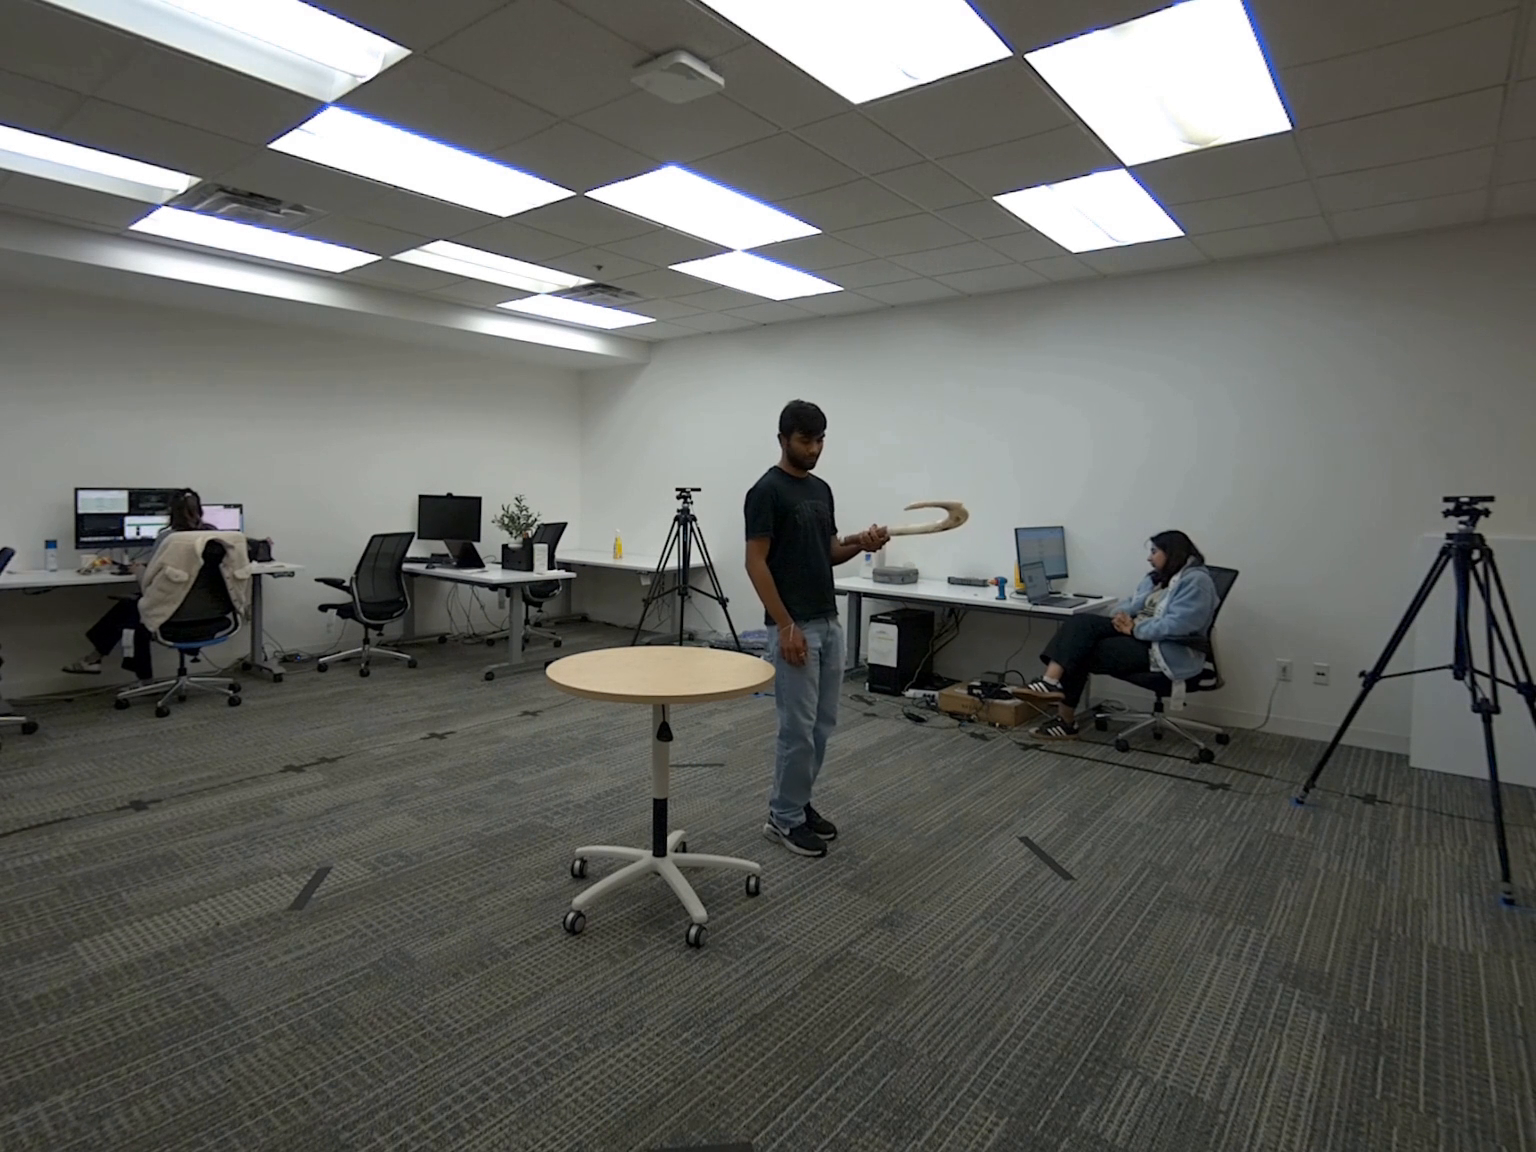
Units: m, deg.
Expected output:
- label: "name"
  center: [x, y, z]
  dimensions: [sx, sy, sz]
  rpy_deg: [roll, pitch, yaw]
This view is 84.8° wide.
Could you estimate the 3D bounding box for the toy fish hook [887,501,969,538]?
- label: "toy fish hook"
  center: [0.446, -0.187, 3.098]
  dimensions: [0.517, 0.049, 0.215]
  rpy_deg: [-12, -36, 30]
